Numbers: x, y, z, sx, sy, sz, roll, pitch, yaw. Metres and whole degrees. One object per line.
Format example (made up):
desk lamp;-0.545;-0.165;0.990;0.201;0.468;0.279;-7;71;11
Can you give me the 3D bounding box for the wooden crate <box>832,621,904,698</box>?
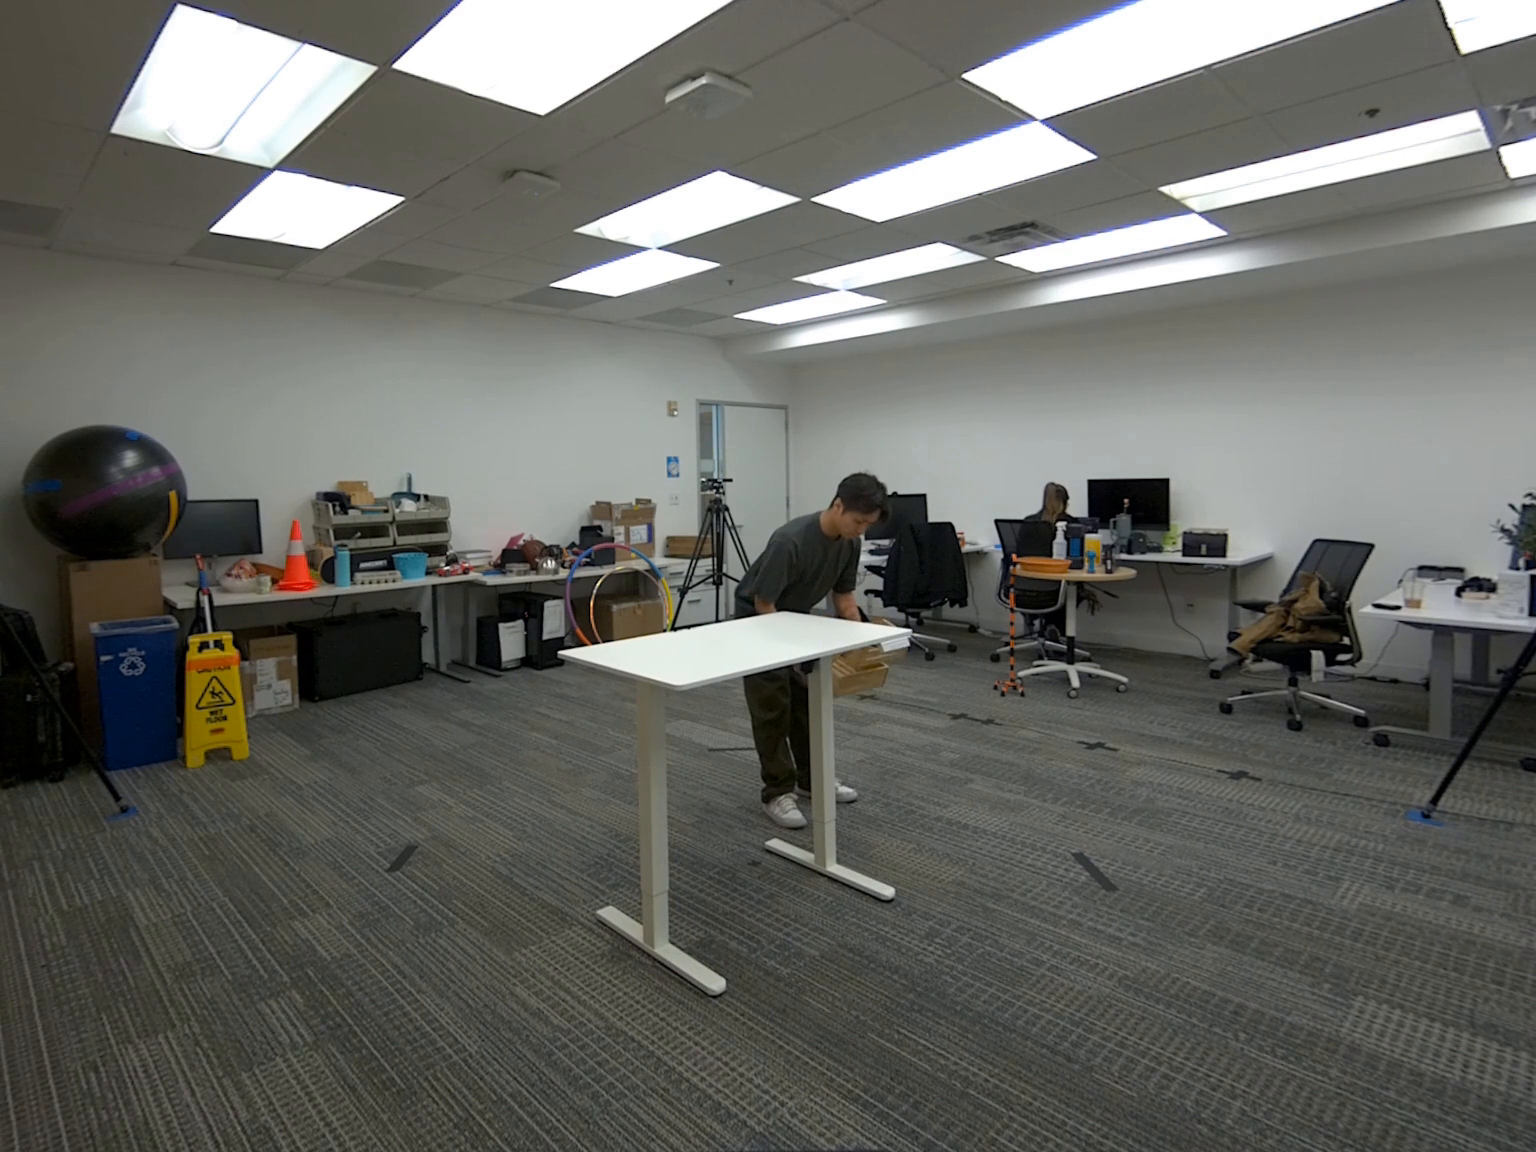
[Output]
wooden crate;0.330;0.300;3.414;0.316;0.270;0.314;-6;28;-40
